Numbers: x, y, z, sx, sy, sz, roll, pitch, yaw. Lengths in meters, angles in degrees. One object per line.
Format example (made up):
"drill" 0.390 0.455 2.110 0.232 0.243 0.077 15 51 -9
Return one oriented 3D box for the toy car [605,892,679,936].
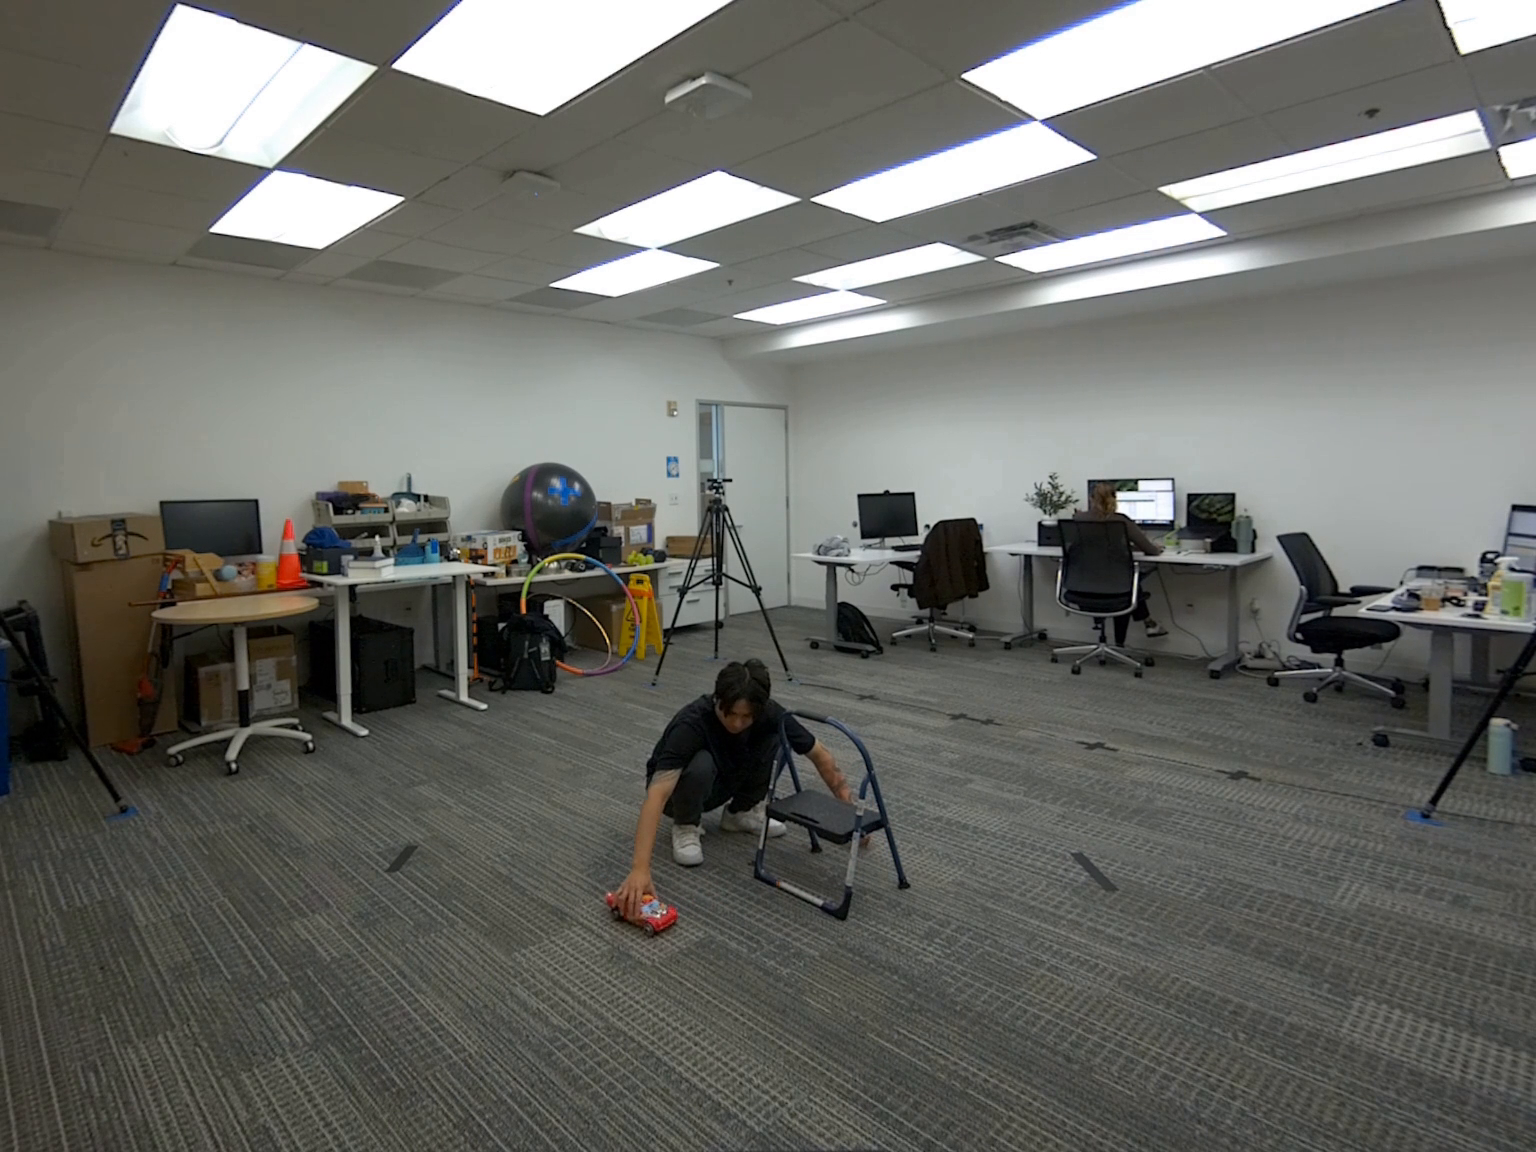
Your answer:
"toy car" -0.409 1.069 2.727 0.263 0.082 0.127 16 16 36
